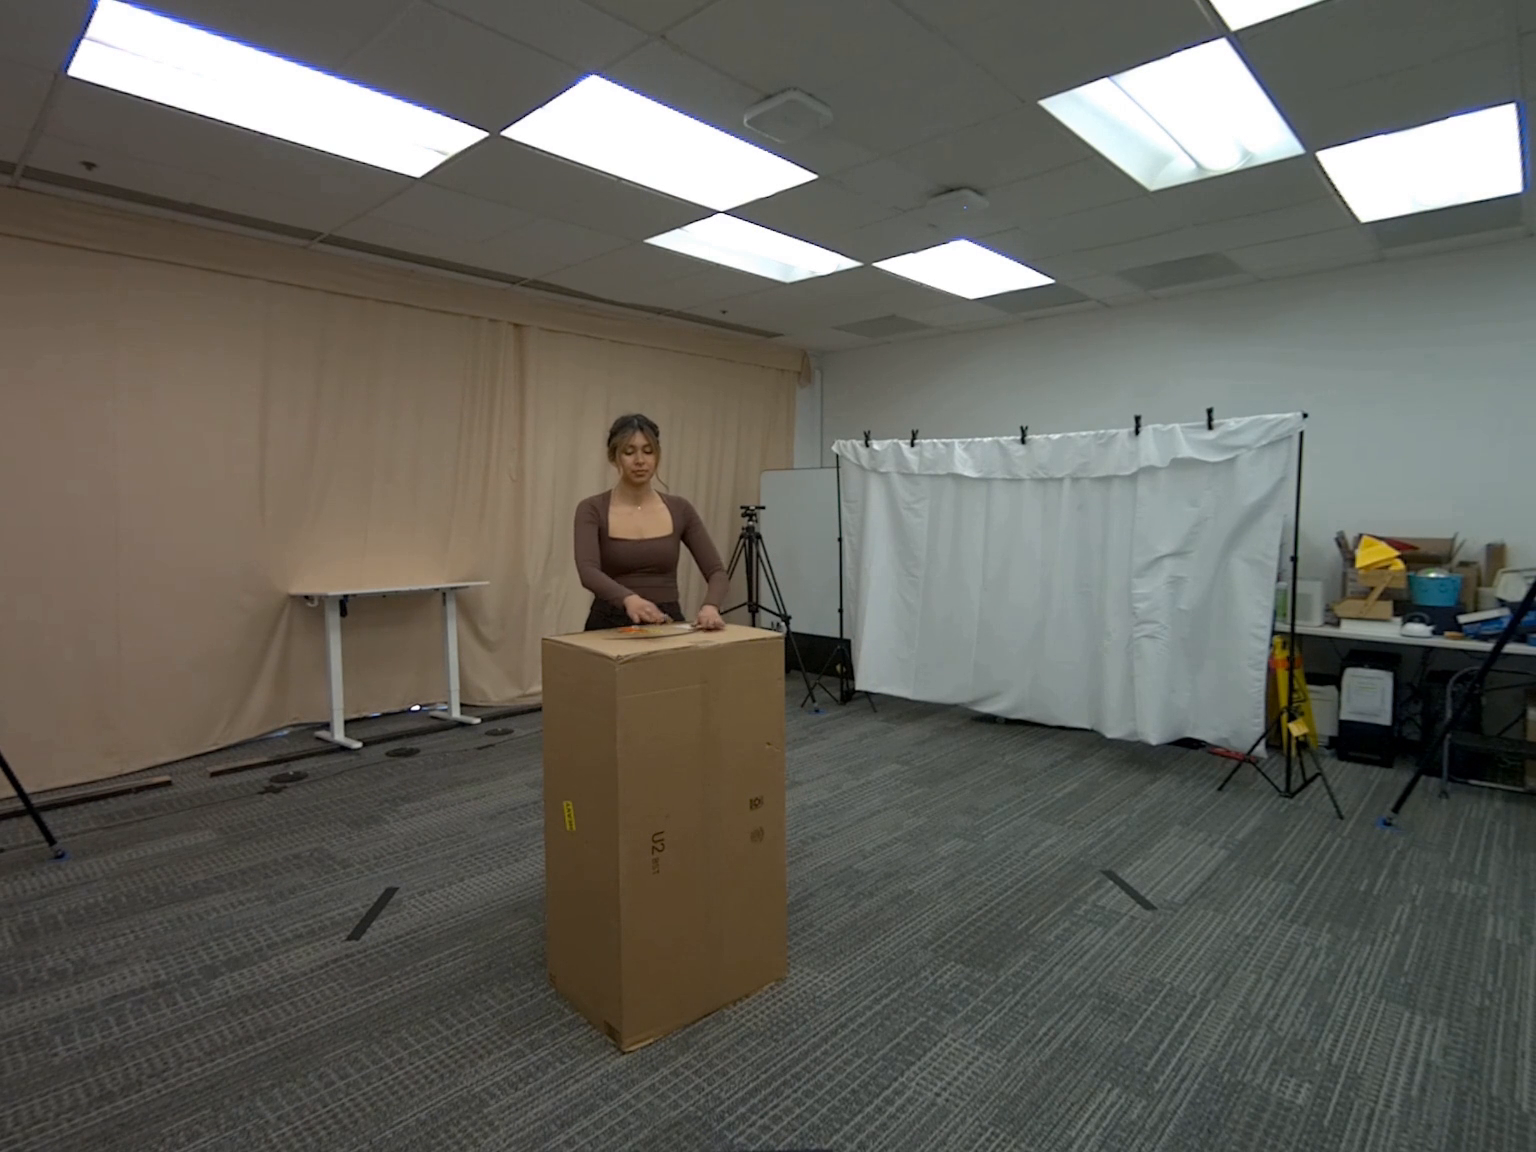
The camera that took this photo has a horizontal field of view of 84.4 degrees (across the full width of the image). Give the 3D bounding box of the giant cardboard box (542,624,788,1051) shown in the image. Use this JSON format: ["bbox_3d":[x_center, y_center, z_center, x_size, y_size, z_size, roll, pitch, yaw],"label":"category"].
[{"bbox_3d":[-0.294,0.680,2.453,0.566,1.025,0.461,-3,3,-39],"label":"giant cardboard box"}]
